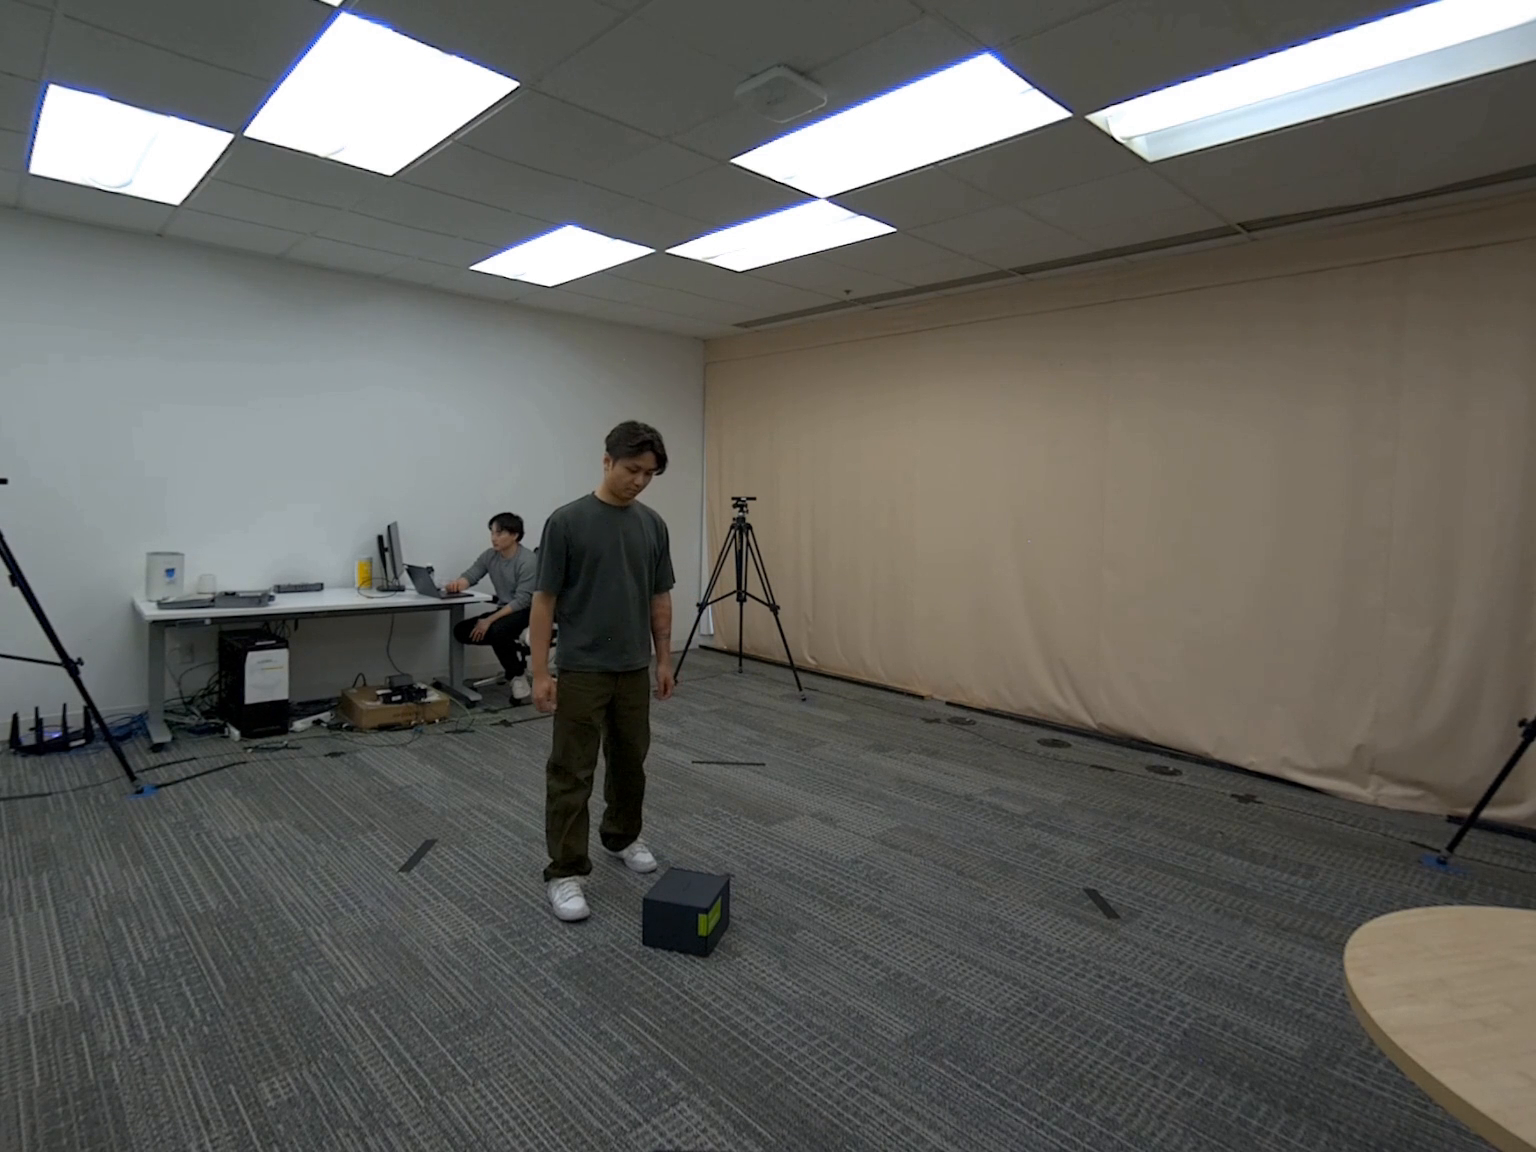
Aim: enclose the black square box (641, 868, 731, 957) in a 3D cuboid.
[{"bbox_3d":[-0.258,1.058,2.668,0.220,0.155,0.225,3,4,16],"label":"black square box"}]
